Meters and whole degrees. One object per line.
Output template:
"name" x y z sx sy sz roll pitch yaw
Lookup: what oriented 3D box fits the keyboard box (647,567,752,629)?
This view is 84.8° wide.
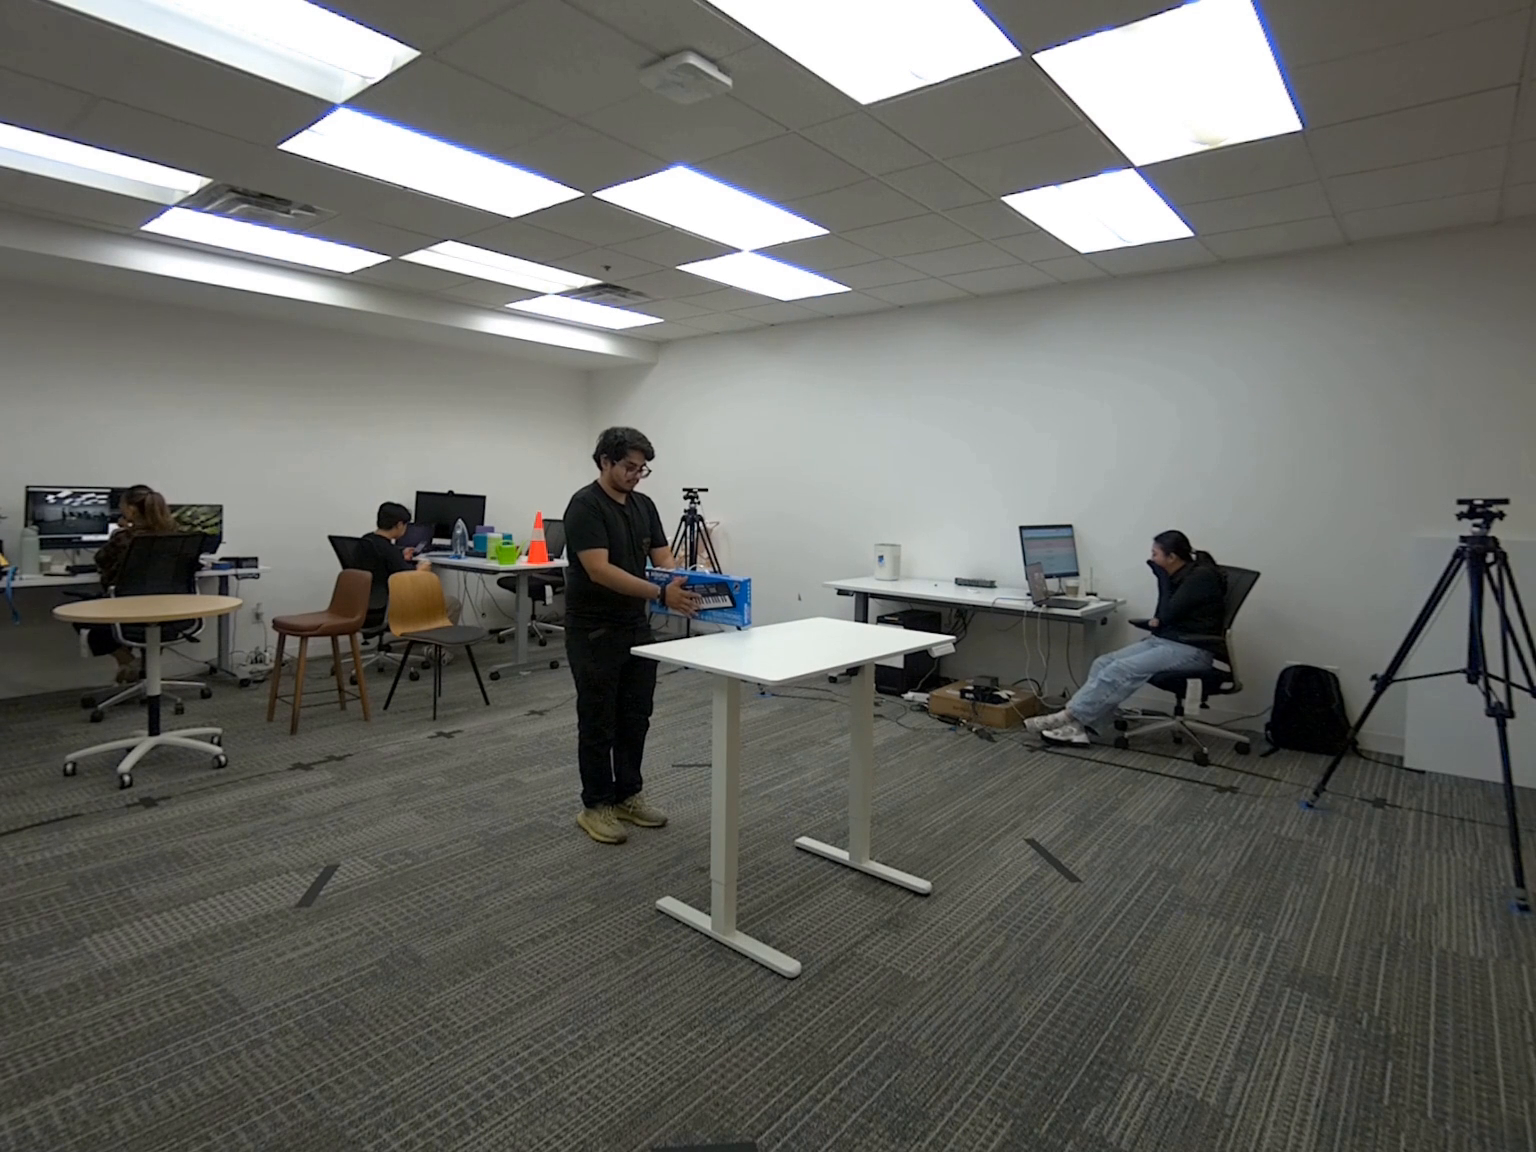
"keyboard box" -0.271 0.075 3.188 0.451 0.174 0.058 6 10 33
